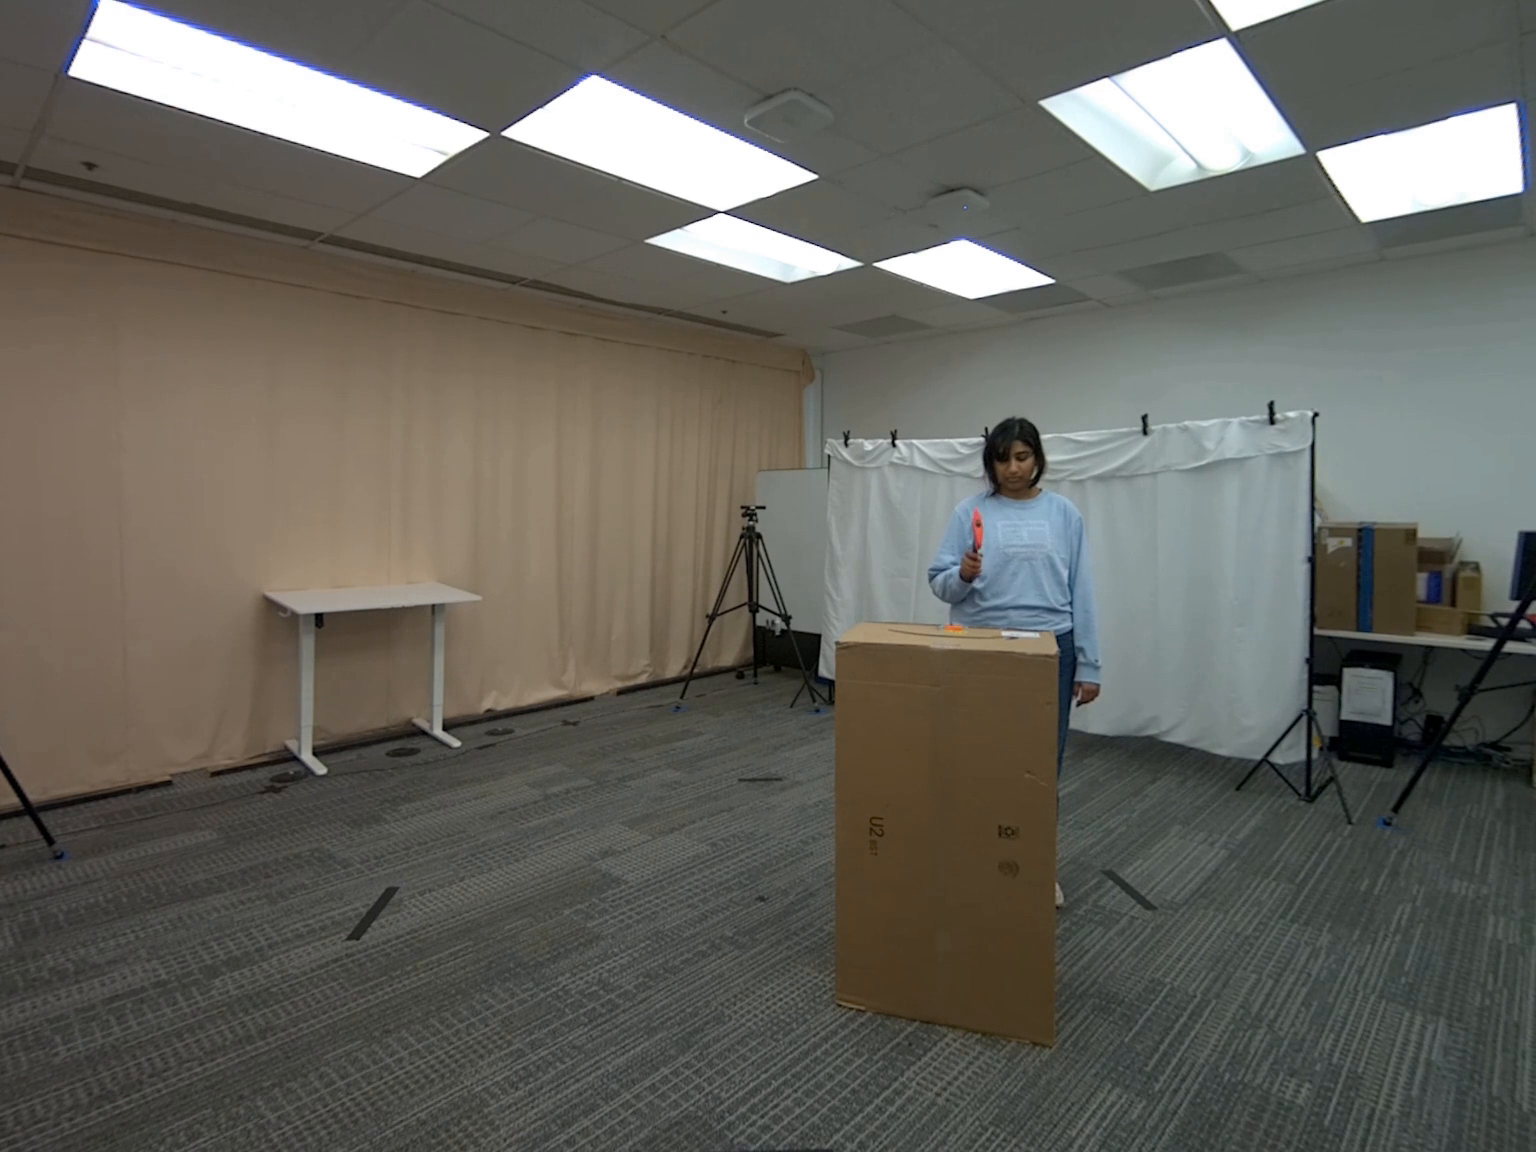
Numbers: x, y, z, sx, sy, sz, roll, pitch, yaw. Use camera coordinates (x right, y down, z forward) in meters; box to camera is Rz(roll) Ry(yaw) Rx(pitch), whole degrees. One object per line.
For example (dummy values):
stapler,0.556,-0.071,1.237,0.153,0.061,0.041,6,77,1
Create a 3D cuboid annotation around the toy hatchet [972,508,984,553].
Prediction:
toy hatchet,0.678,-0.081,2.689,0.030,0.264,0.133,-4,41,6
